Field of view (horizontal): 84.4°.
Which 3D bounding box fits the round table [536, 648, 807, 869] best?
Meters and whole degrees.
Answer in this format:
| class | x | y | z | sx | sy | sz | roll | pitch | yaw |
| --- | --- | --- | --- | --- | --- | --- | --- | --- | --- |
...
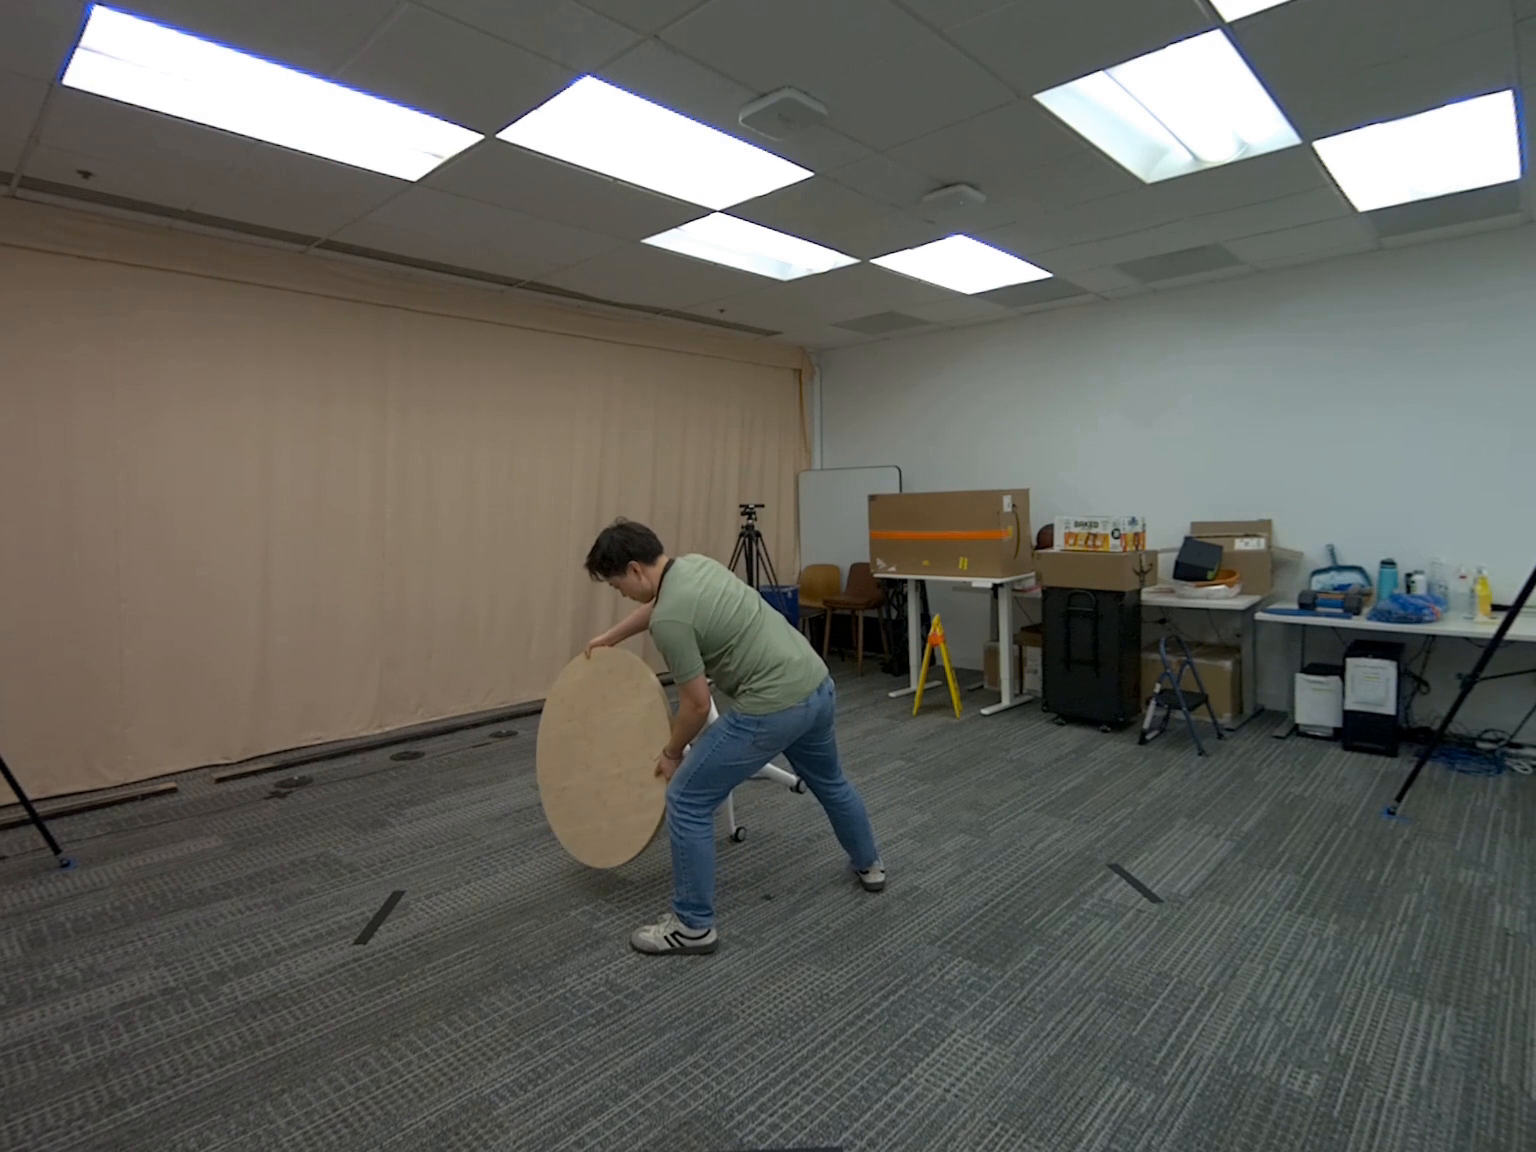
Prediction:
| class | x | y | z | sx | sy | sz | roll | pitch | yaw |
| --- | --- | --- | --- | --- | --- | --- | --- | --- | --- |
| round table | -0.348 | 0.680 | 3.291 | 0.789 | 0.766 | 0.766 | 3 | -6 | 43 |
